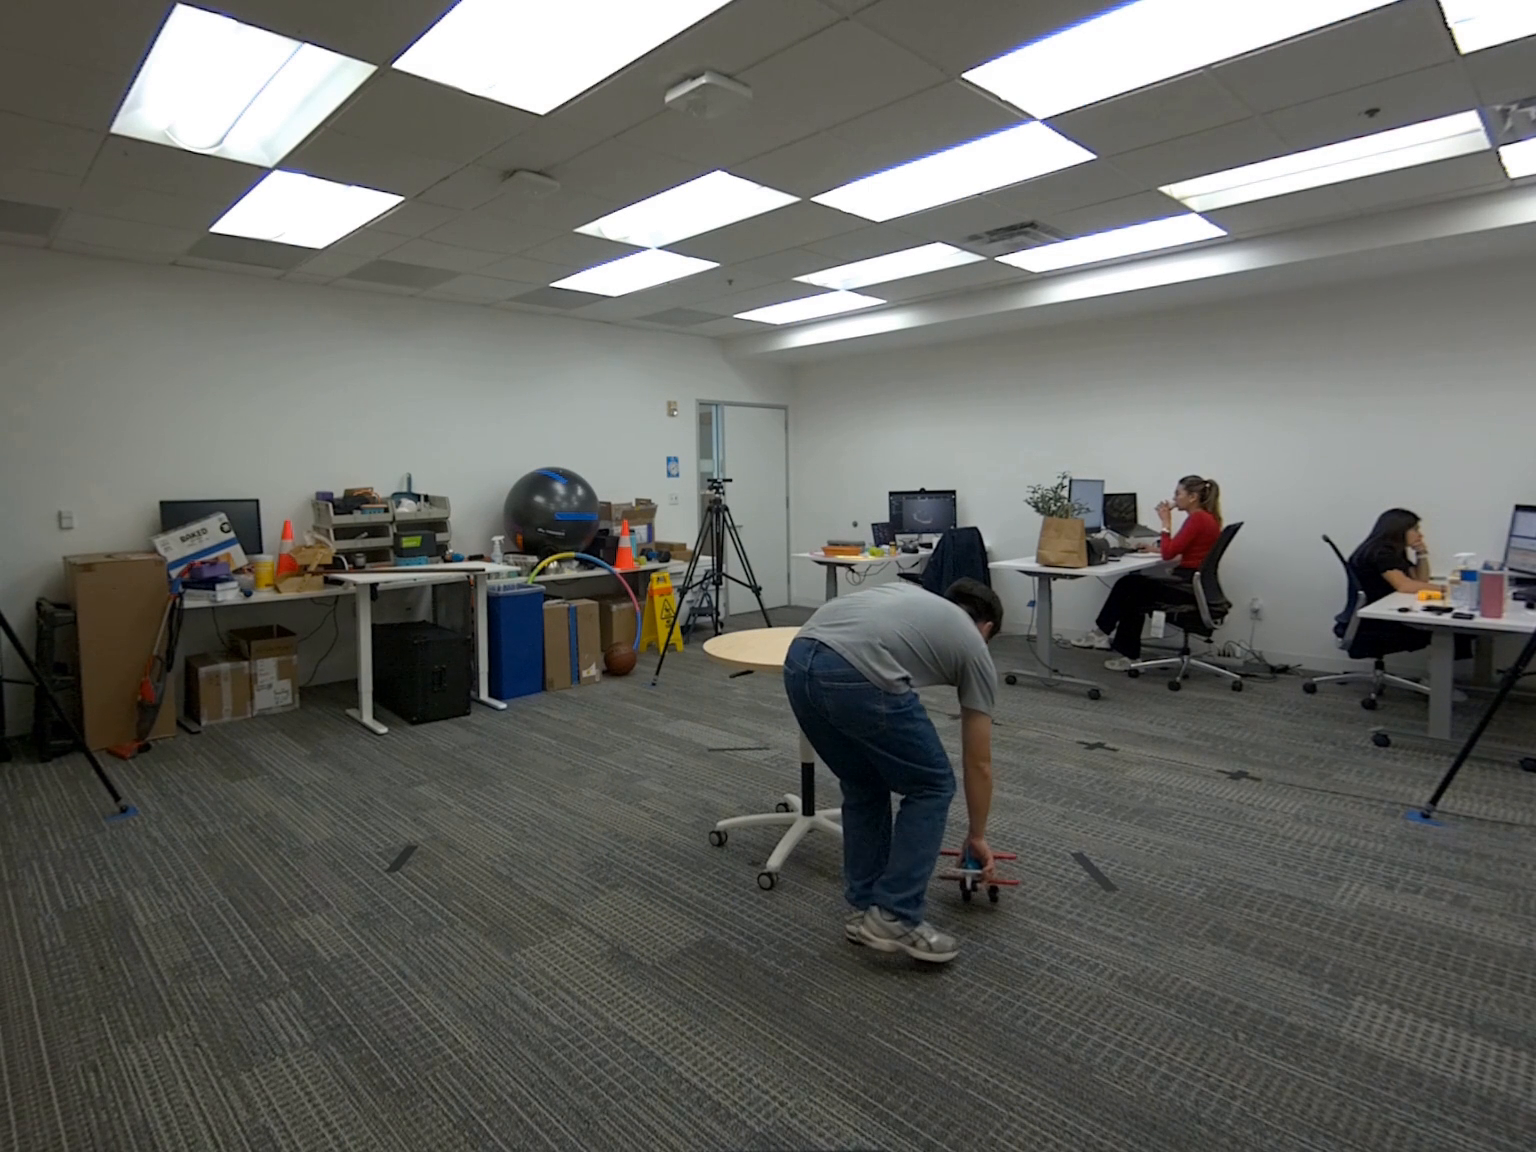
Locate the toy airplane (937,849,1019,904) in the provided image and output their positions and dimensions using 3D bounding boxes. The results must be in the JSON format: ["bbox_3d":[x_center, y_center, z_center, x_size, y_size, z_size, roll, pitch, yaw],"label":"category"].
[{"bbox_3d":[0.688,0.957,2.749,0.251,0.159,0.254,9,-28,0],"label":"toy airplane"}]
